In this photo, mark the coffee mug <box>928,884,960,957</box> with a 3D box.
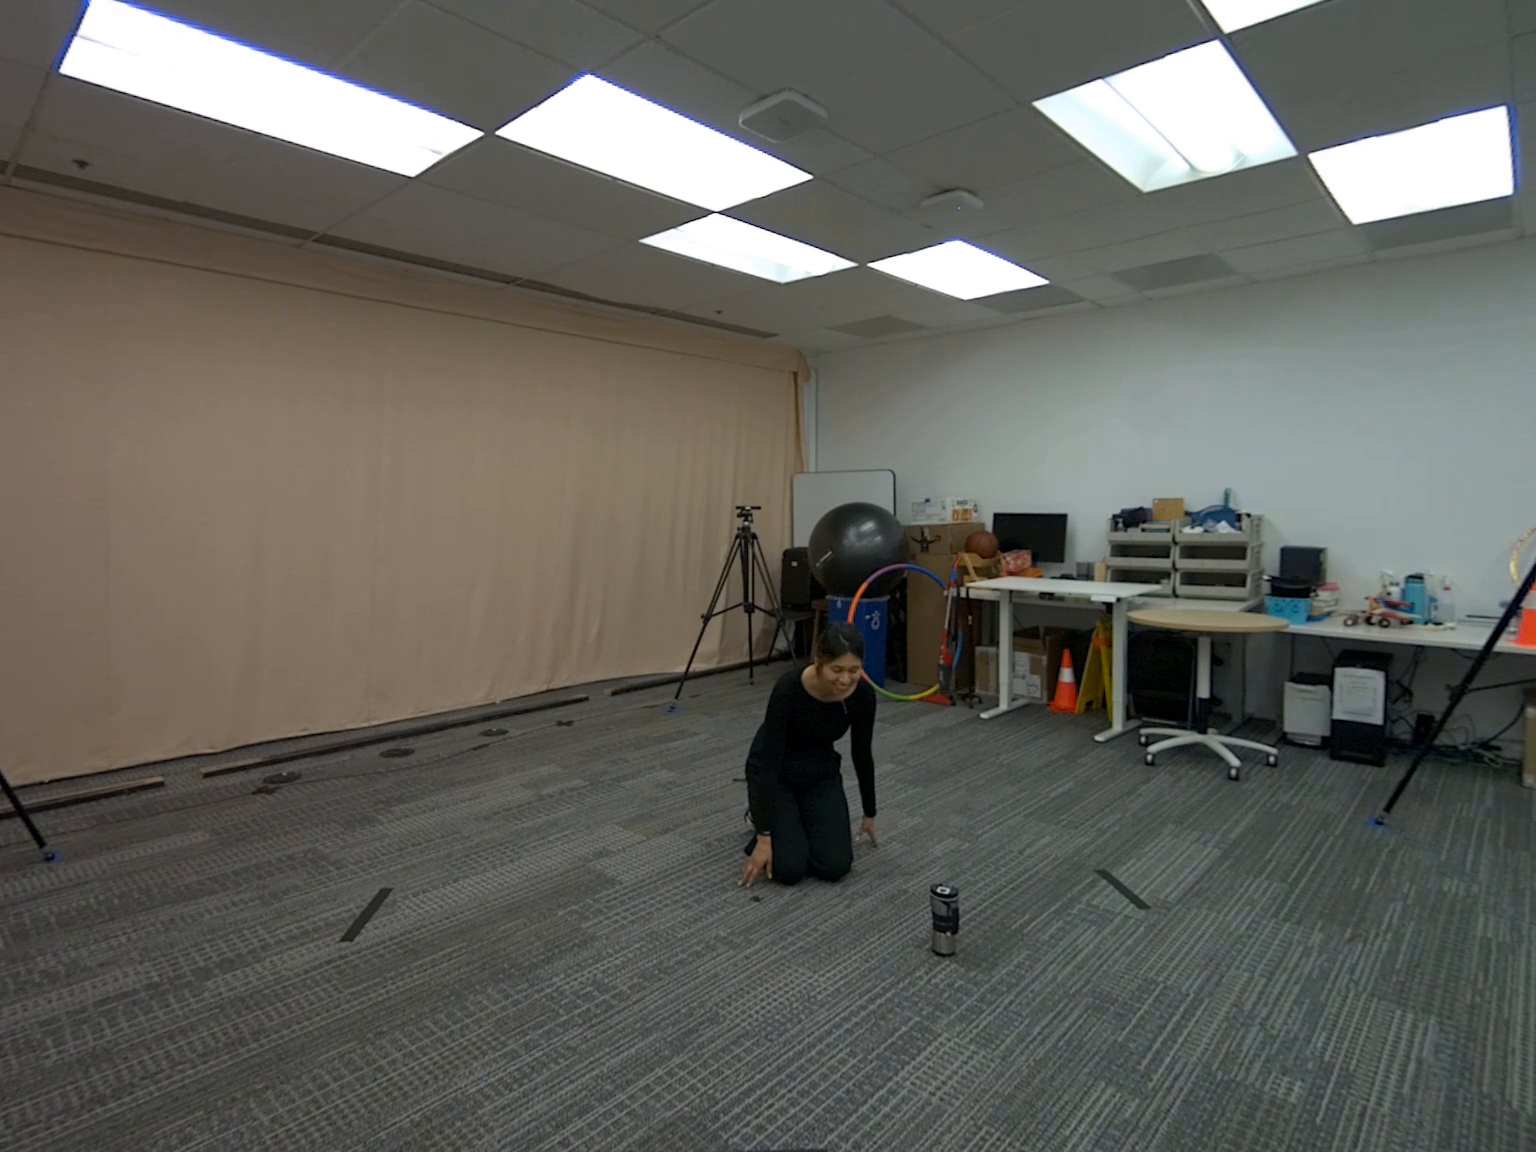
[{"bbox_3d":[0.552,1.081,2.597,0.090,0.203,0.119,6,2,21],"label":"coffee mug"}]
